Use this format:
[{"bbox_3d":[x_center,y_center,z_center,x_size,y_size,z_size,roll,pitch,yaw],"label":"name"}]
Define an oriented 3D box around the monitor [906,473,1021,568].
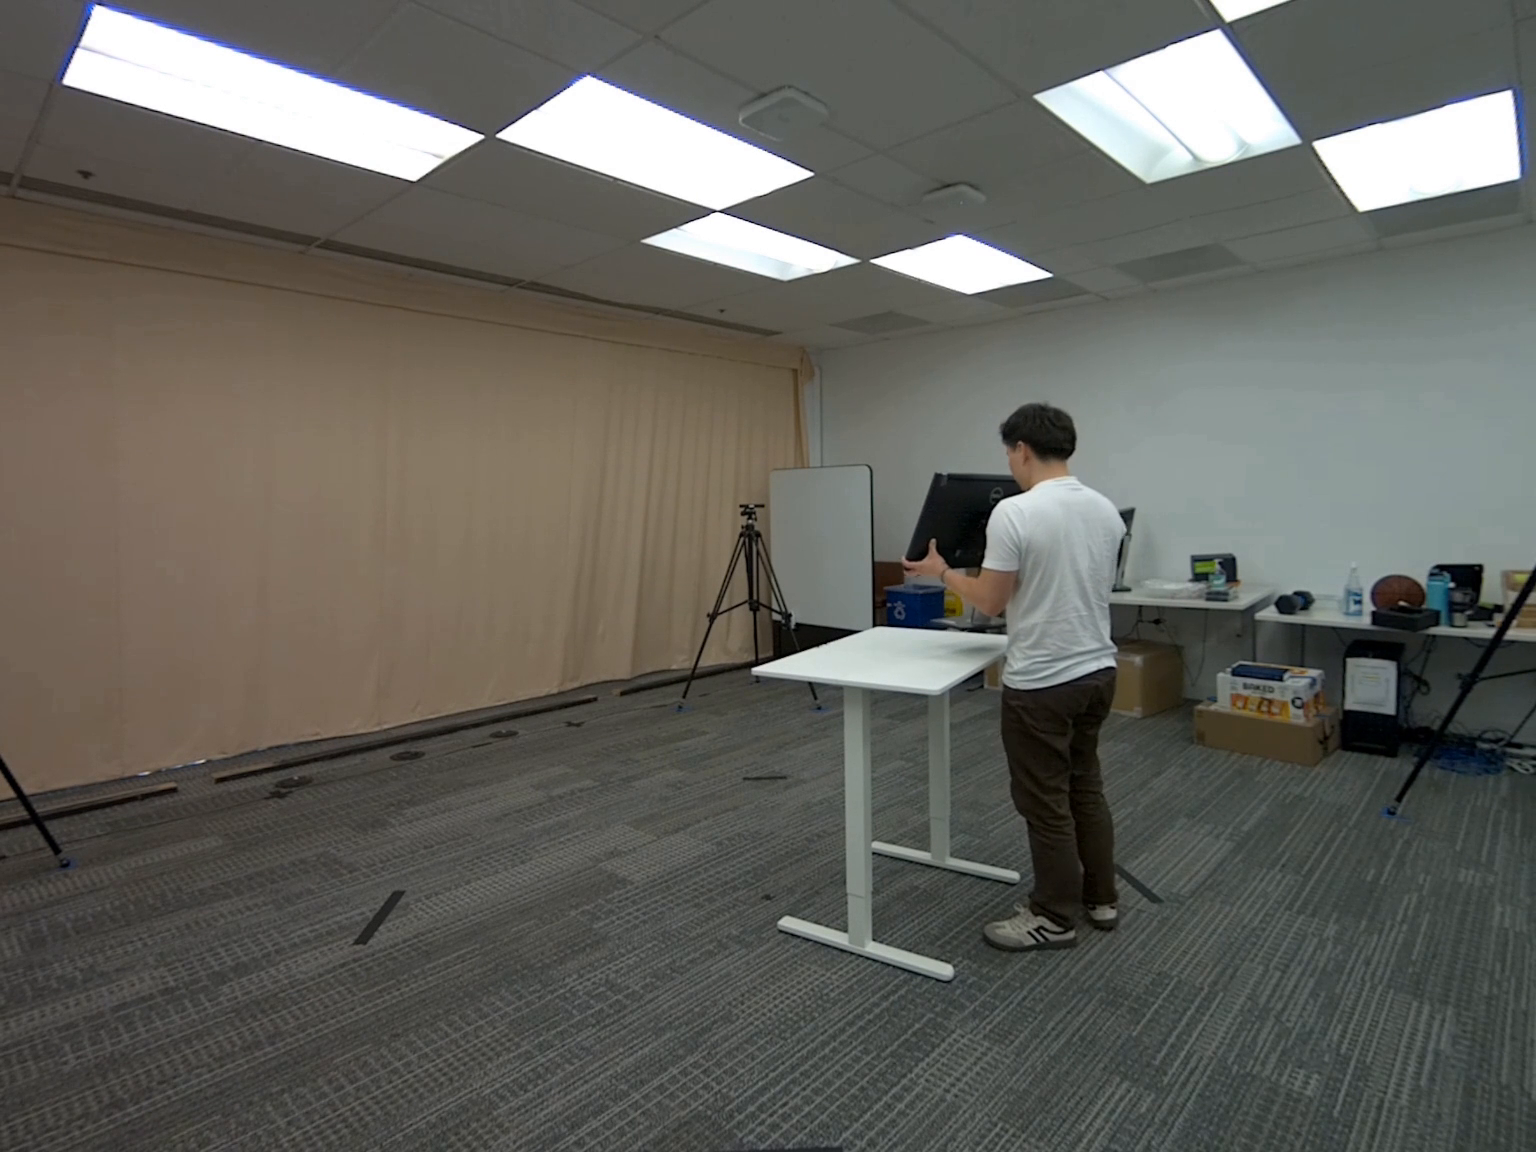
[{"bbox_3d":[0.734,-0.085,2.857,0.524,0.519,0.193,-2,13,-33],"label":"monitor"}]
